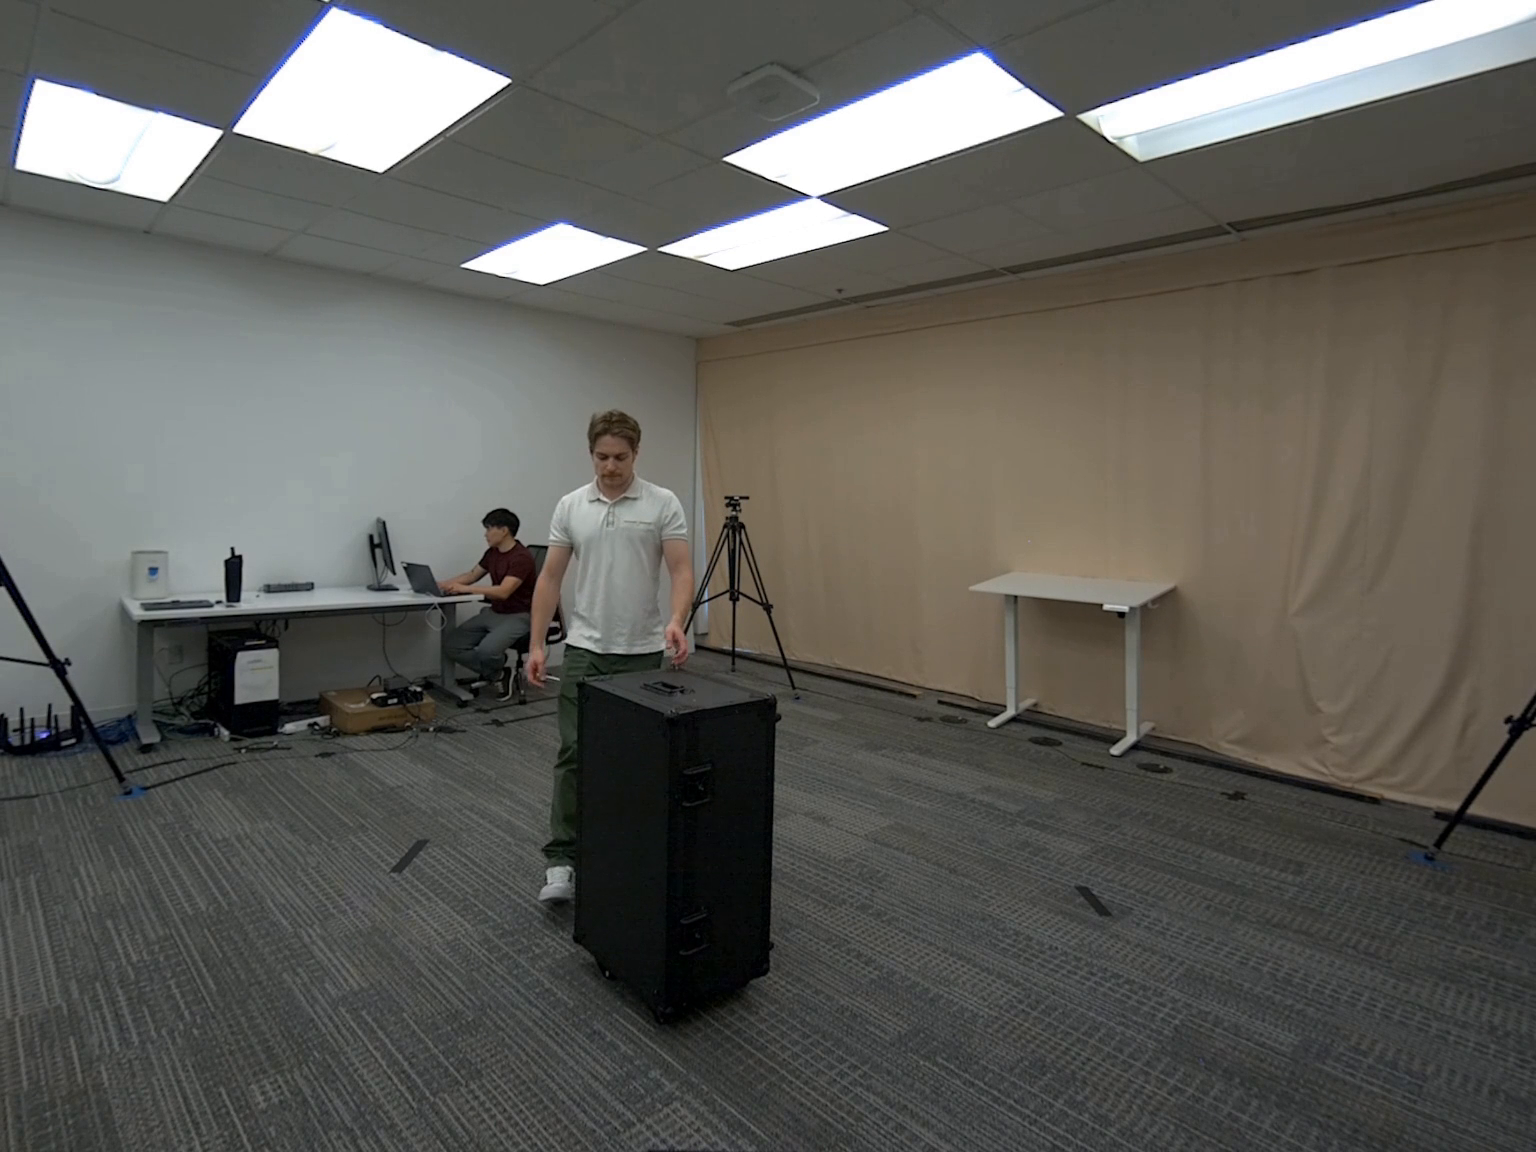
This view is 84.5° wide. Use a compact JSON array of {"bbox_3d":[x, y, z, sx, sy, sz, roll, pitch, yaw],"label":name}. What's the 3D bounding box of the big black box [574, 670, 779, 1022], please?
[{"bbox_3d":[-0.281,0.747,2.400,0.376,0.867,0.537,-1,4,-41],"label":"big black box"}]
